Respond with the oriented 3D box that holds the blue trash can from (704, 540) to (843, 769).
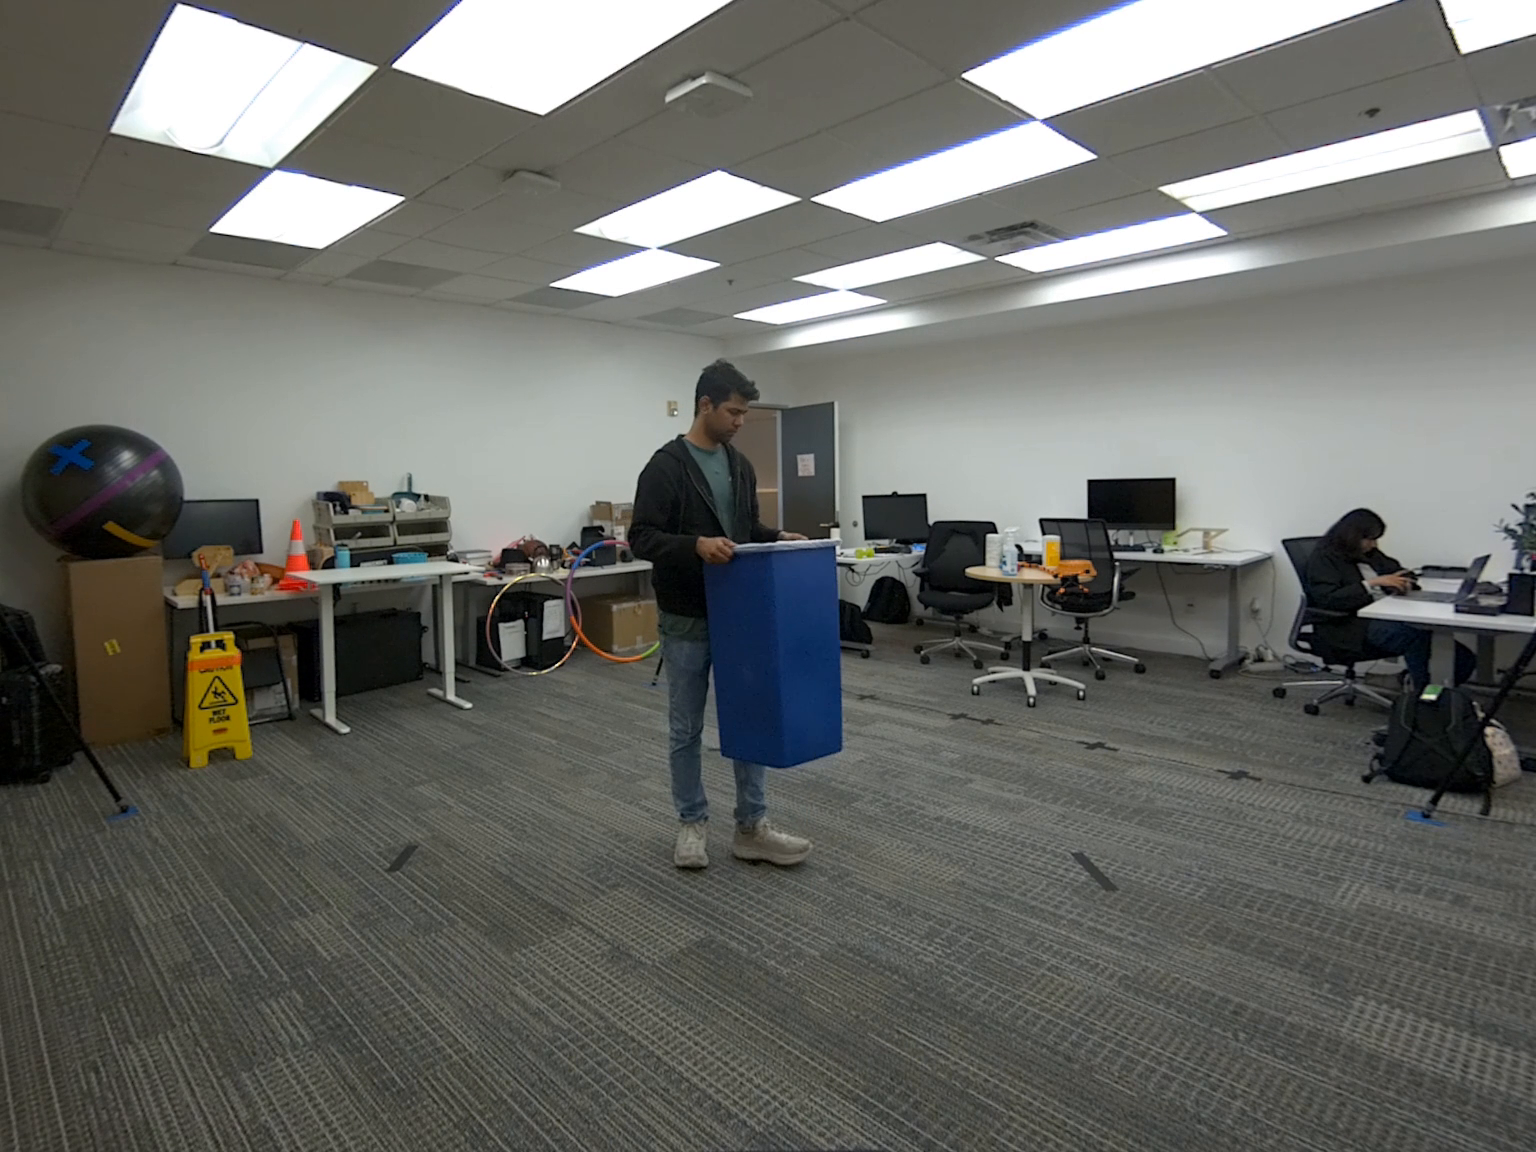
[{"bbox_3d":[0.029,0.252,2.889,0.364,0.714,0.388,-3,-1,-45],"label":"blue trash can"}]
